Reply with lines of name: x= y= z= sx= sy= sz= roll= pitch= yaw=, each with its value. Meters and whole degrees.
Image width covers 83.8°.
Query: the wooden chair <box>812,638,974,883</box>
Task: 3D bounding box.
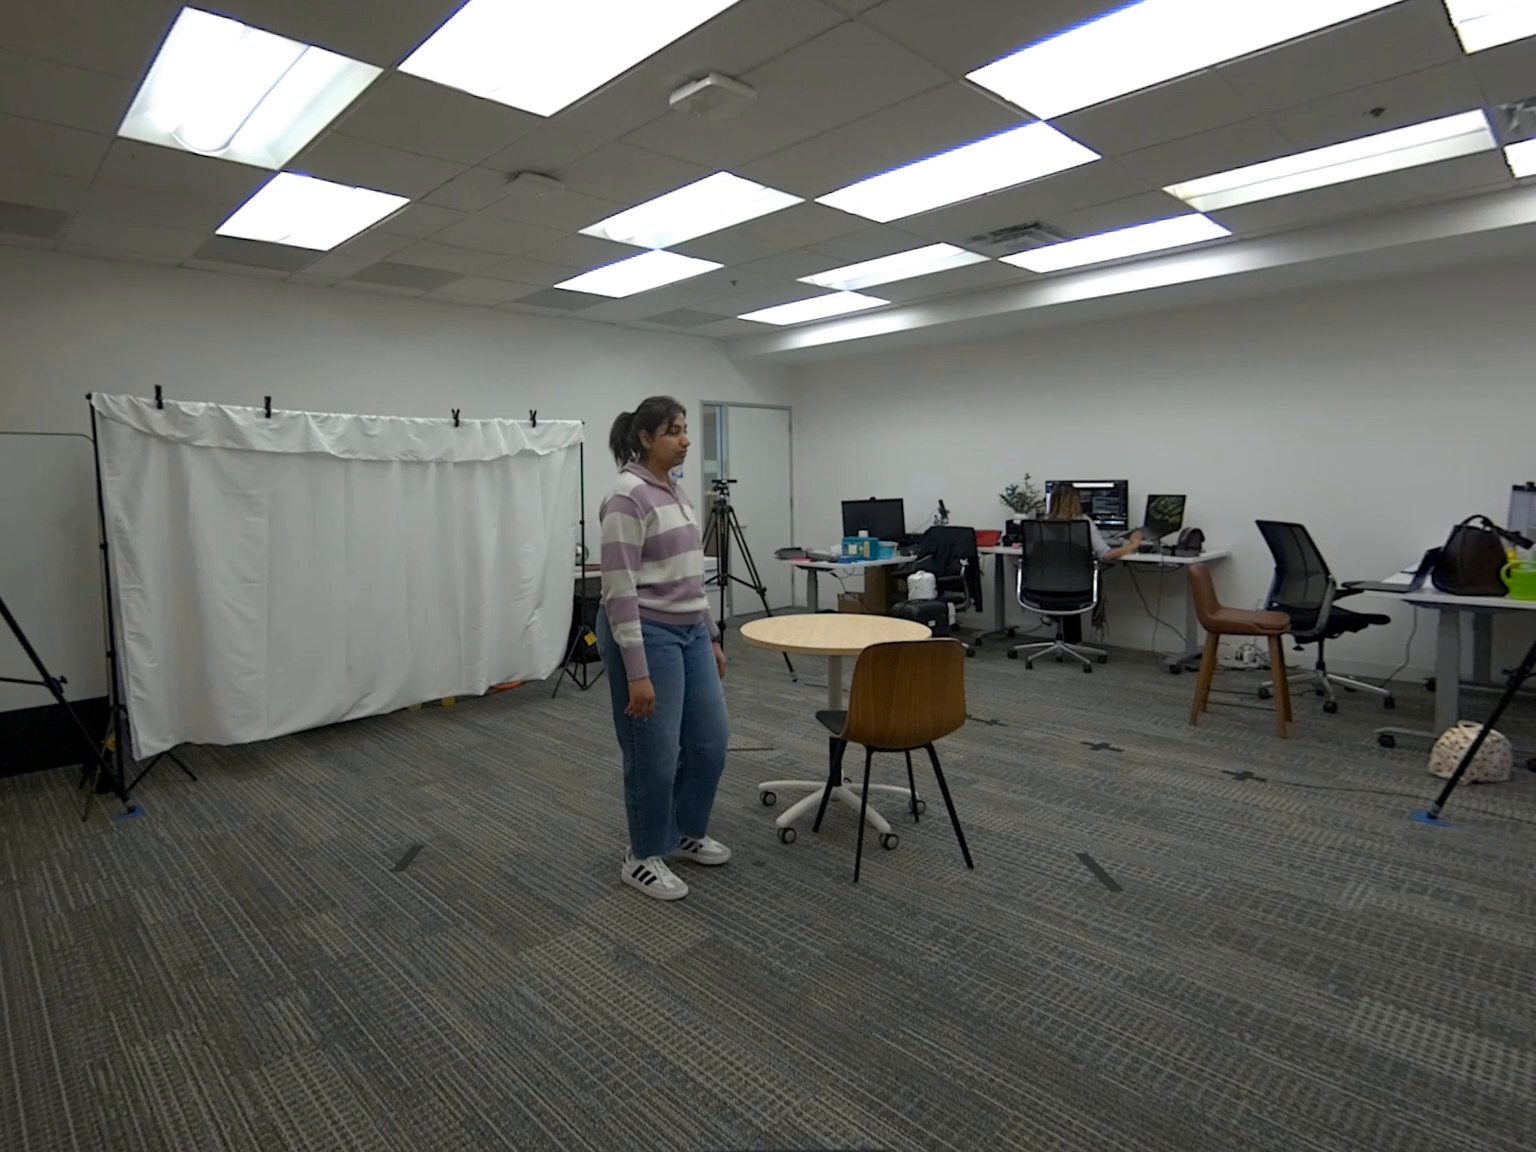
wooden chair: x=0.439 y=0.599 z=3.191 sx=0.472 sy=0.871 sz=0.533 roll=-3 pitch=8 yaw=-14
